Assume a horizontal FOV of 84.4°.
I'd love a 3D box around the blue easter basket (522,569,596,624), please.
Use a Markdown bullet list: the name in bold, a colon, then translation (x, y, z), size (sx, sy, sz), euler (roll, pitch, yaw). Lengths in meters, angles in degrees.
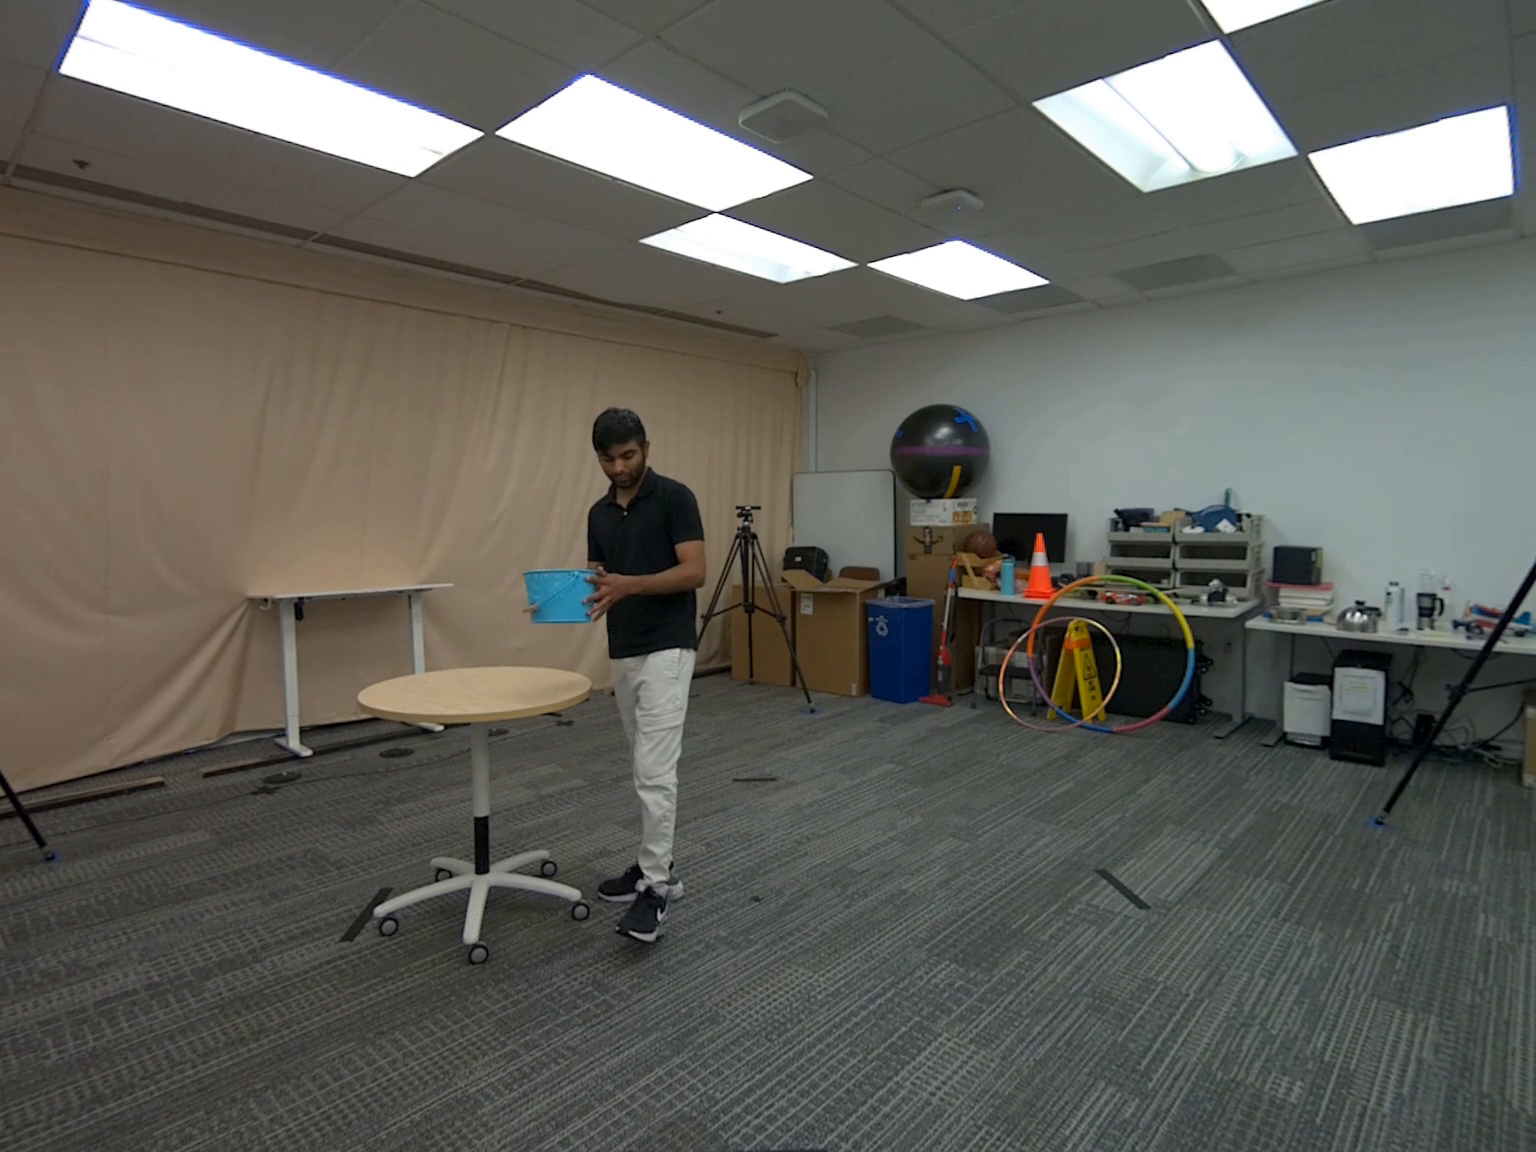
- **blue easter basket**: translation (-0.649, 0.069, 2.584), size (0.243, 0.156, 0.243), euler (0, -3, -2)
